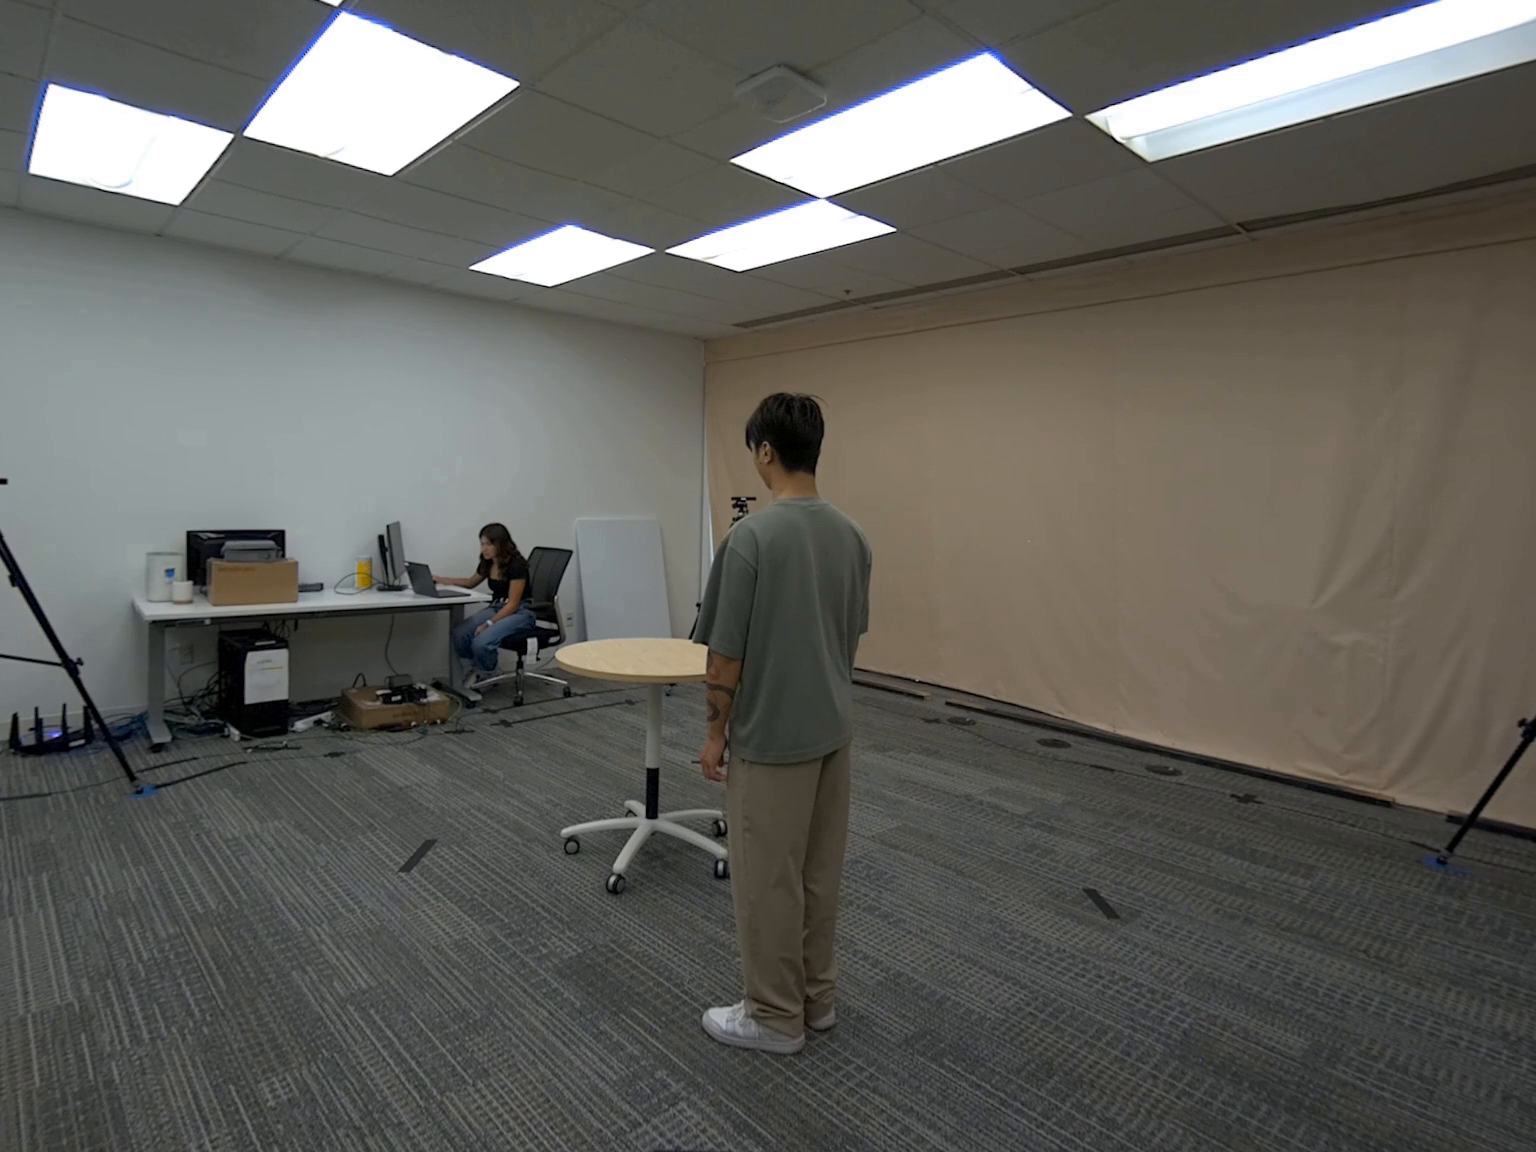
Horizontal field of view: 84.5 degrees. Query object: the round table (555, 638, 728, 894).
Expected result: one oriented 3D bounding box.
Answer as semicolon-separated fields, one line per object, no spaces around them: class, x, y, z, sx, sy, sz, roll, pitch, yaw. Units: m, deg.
round table;-0.460;0.699;3.273;0.763;0.792;0.767;1;4;-1
